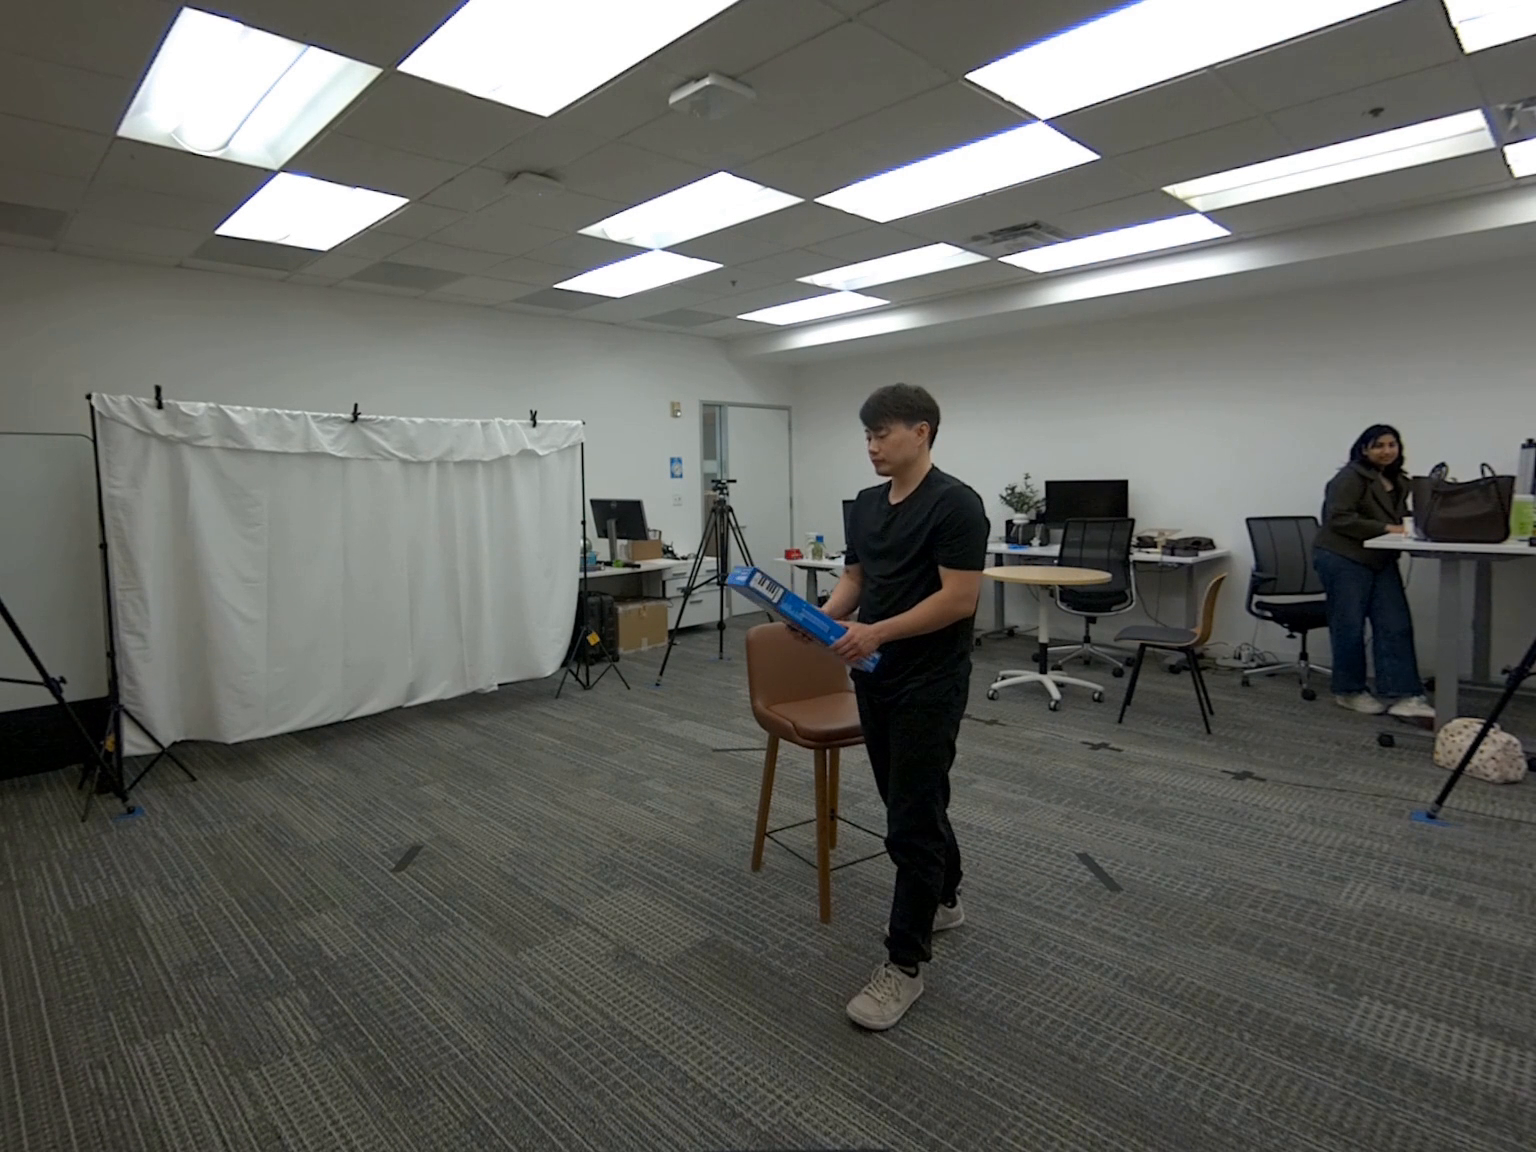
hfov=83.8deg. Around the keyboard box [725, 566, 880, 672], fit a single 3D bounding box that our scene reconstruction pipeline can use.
[{"bbox_3d":[0.097,0.114,2.324,0.429,0.059,0.179,36,-11,-15],"label":"keyboard box"}]
